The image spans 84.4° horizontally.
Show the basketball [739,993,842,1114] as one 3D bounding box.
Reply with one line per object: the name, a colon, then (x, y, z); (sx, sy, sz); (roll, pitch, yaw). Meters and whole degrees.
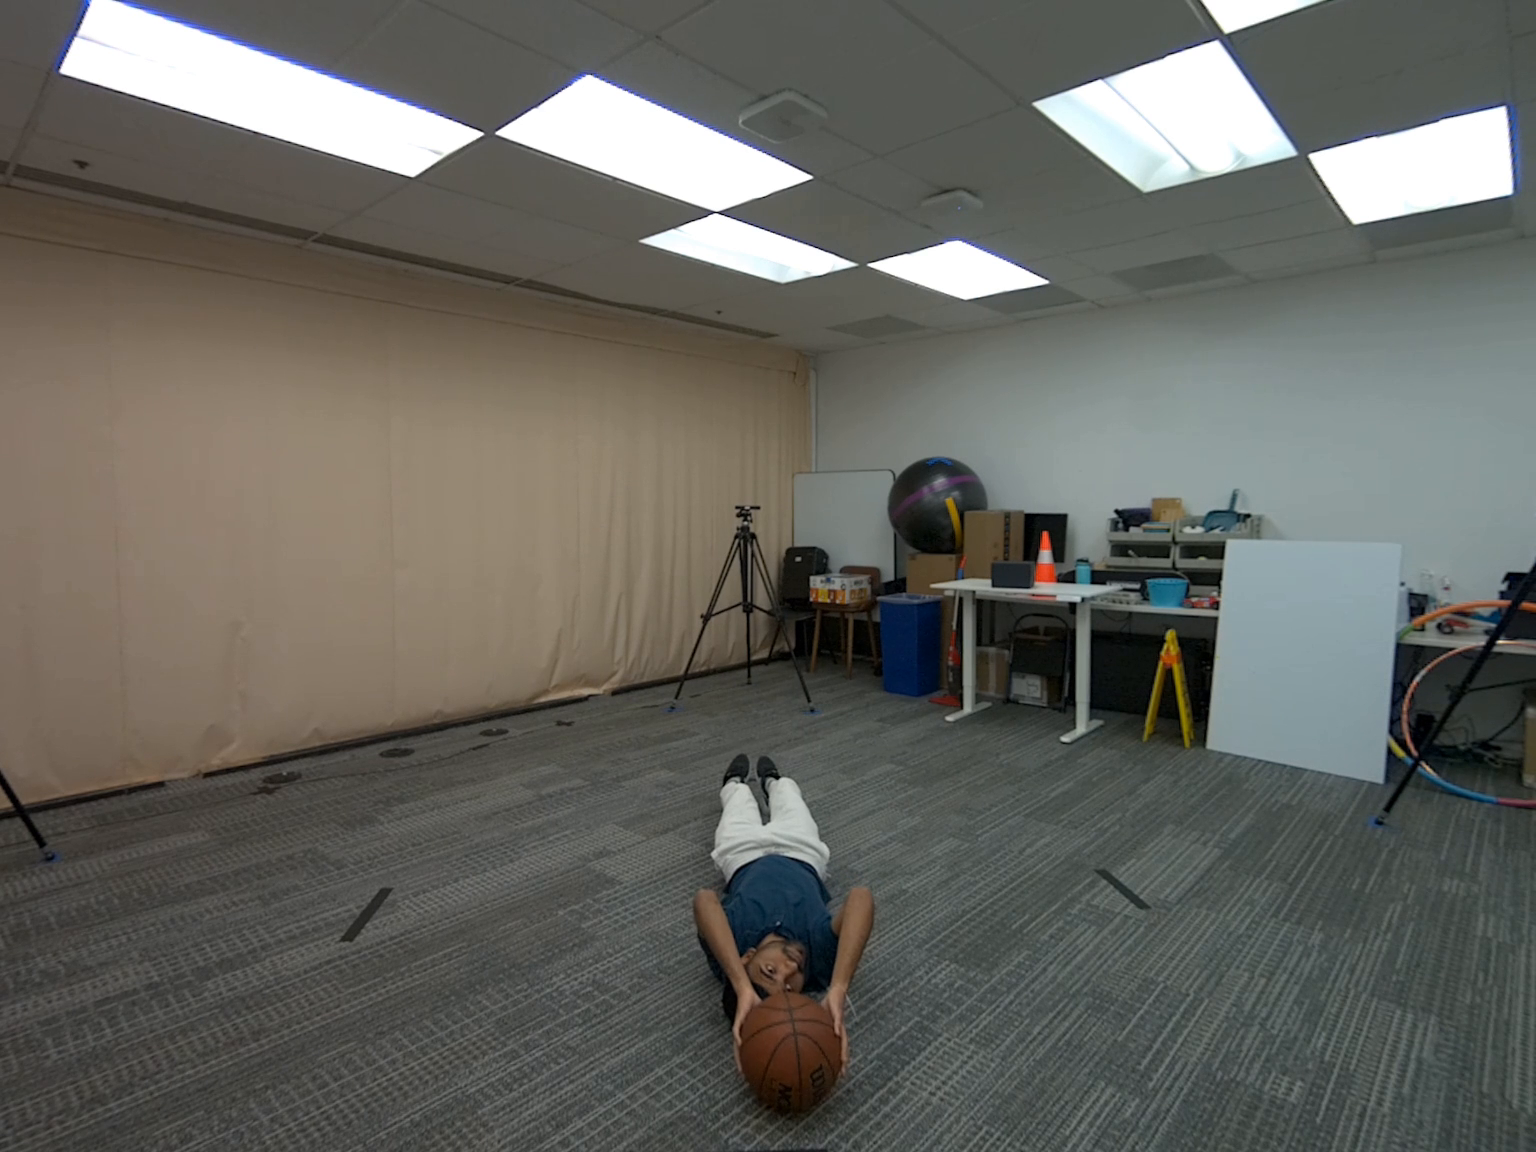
basketball: (0.060, 1.112, 1.960); (0.236, 0.235, 0.237); (0, 4, -2)
